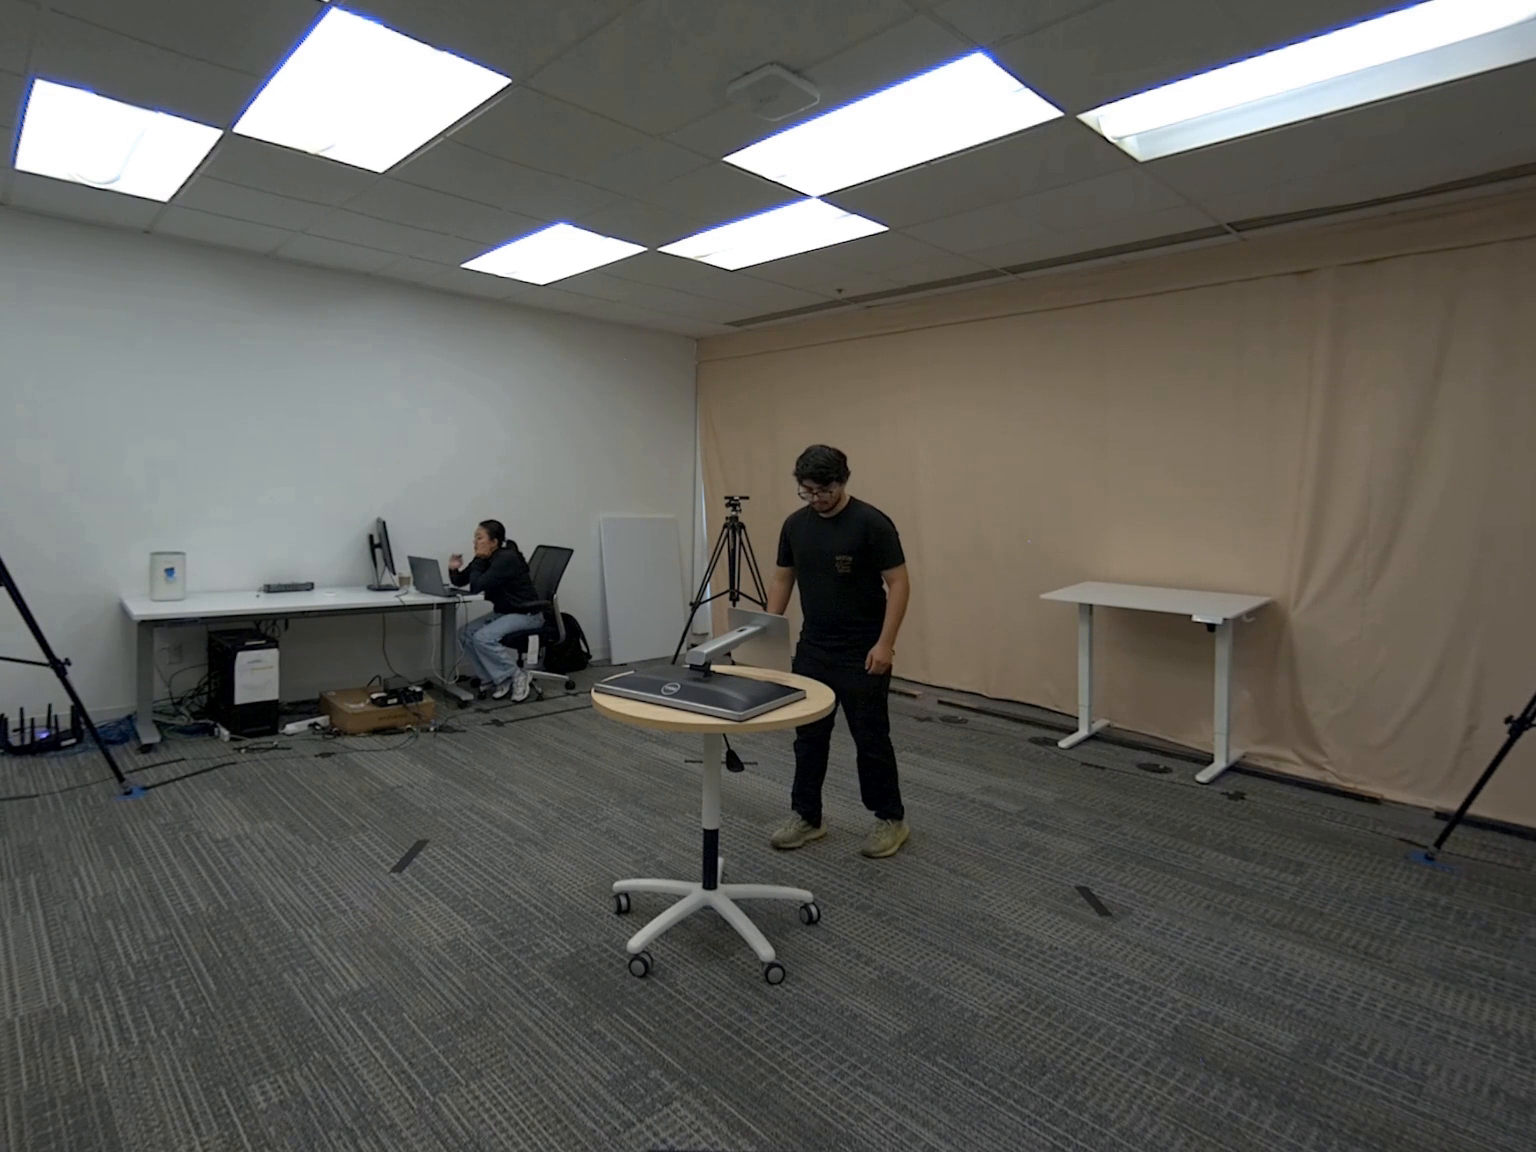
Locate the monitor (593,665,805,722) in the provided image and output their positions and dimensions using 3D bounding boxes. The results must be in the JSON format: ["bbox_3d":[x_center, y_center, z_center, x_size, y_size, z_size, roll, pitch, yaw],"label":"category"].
[{"bbox_3d":[-0.178,0.269,2.661,0.579,0.208,0.545,5,12,33],"label":"monitor"}]
